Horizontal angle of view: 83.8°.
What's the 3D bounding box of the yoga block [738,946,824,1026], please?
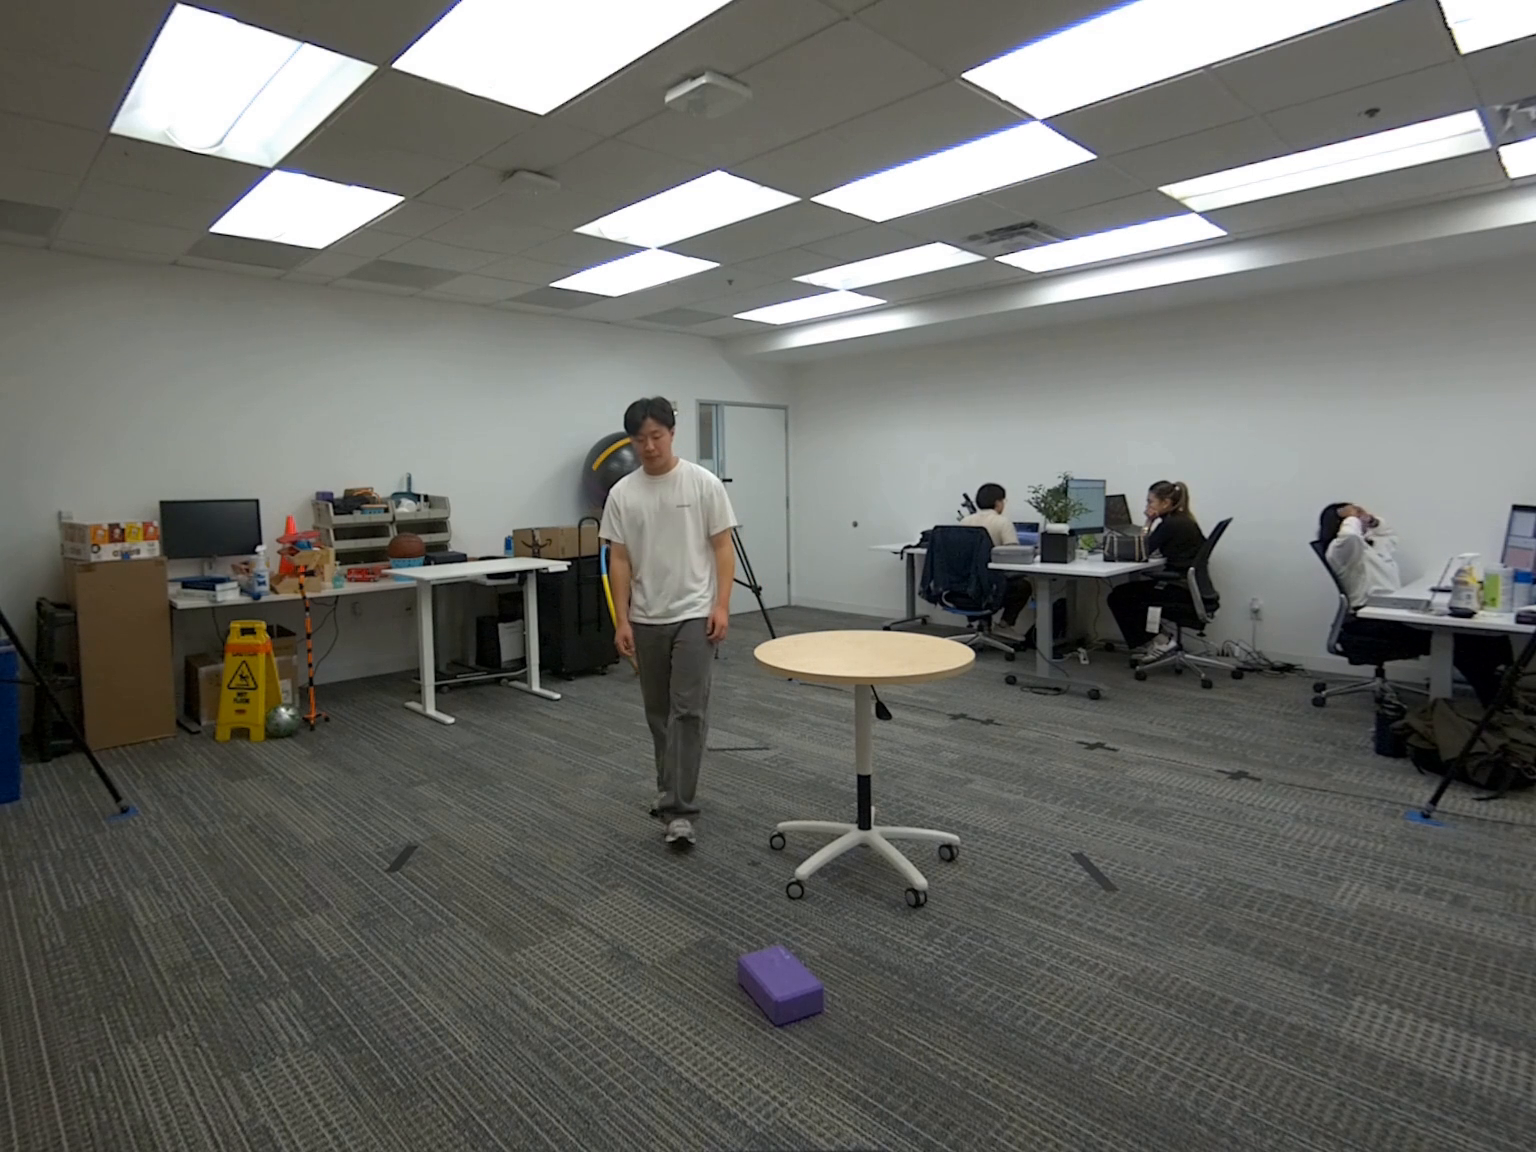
[{"bbox_3d":[0.039,1.101,2.306,0.146,0.076,0.235,-4,7,-27],"label":"yoga block"}]
